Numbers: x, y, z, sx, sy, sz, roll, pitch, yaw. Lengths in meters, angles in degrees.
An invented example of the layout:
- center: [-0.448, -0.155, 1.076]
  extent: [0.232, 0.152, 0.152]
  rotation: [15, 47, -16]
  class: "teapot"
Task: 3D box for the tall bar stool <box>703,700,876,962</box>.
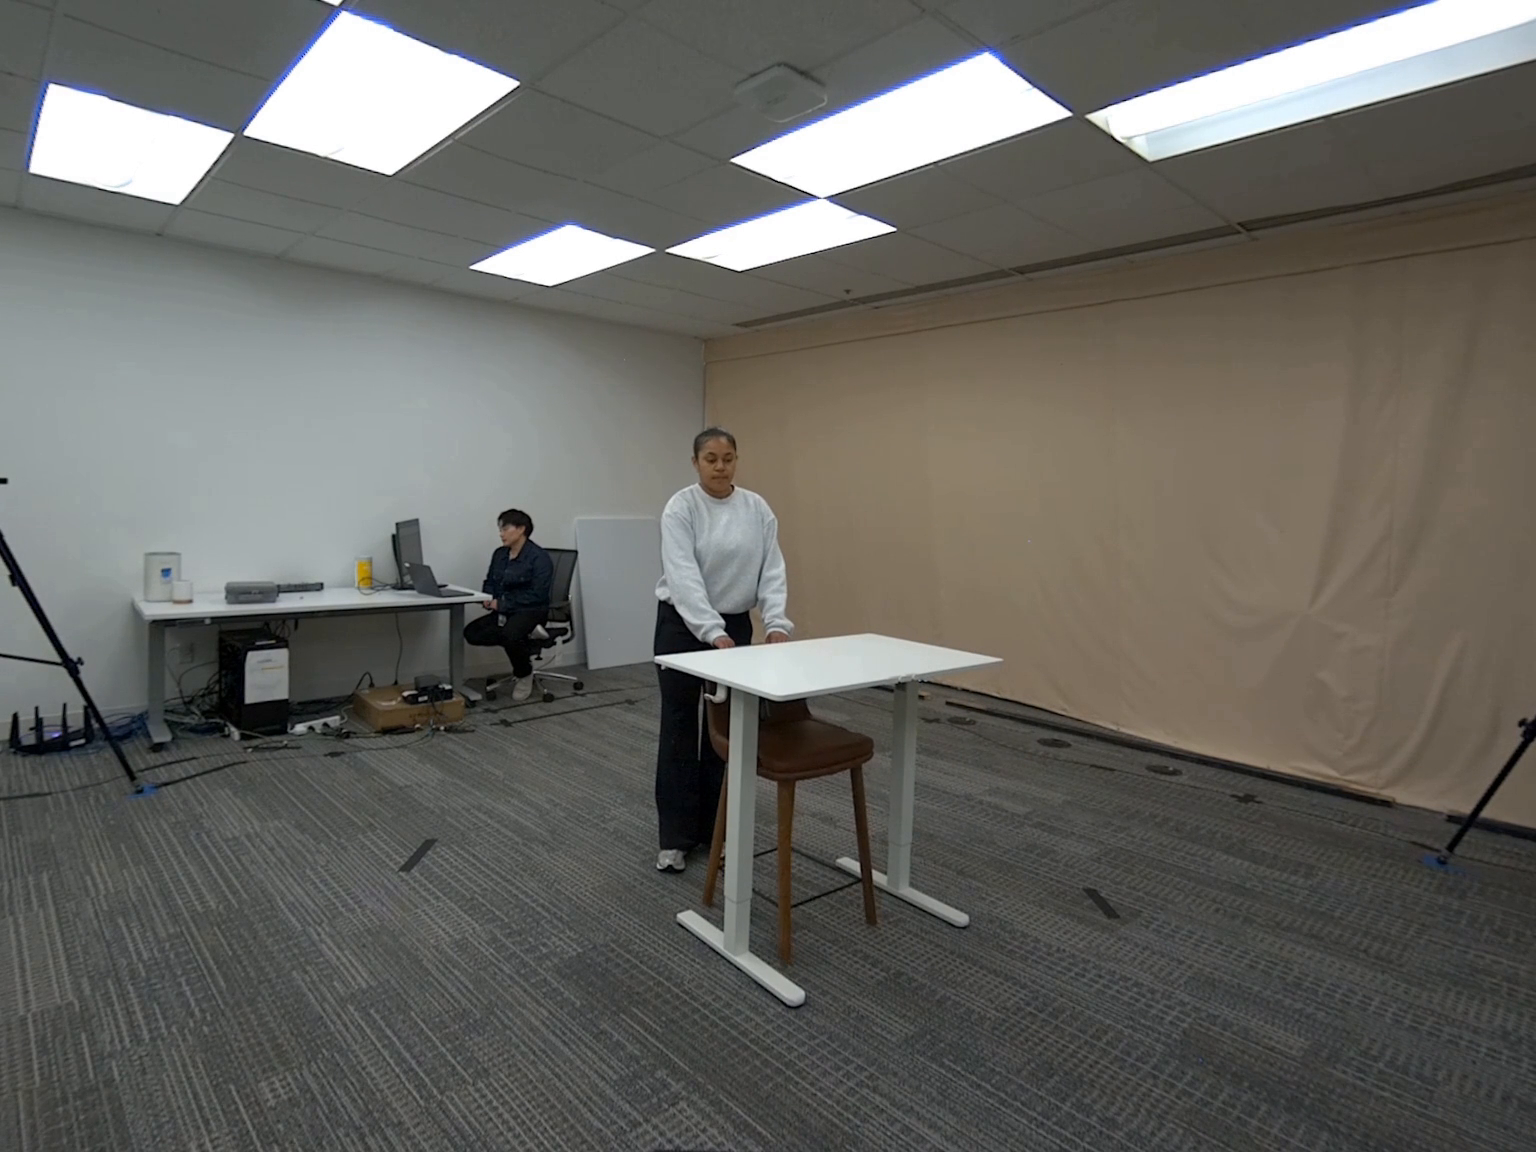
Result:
- center: [0.057, 0.703, 2.807]
  extent: [0.446, 0.888, 0.479]
  rotation: [-2, 3, -38]
  class: "tall bar stool"
